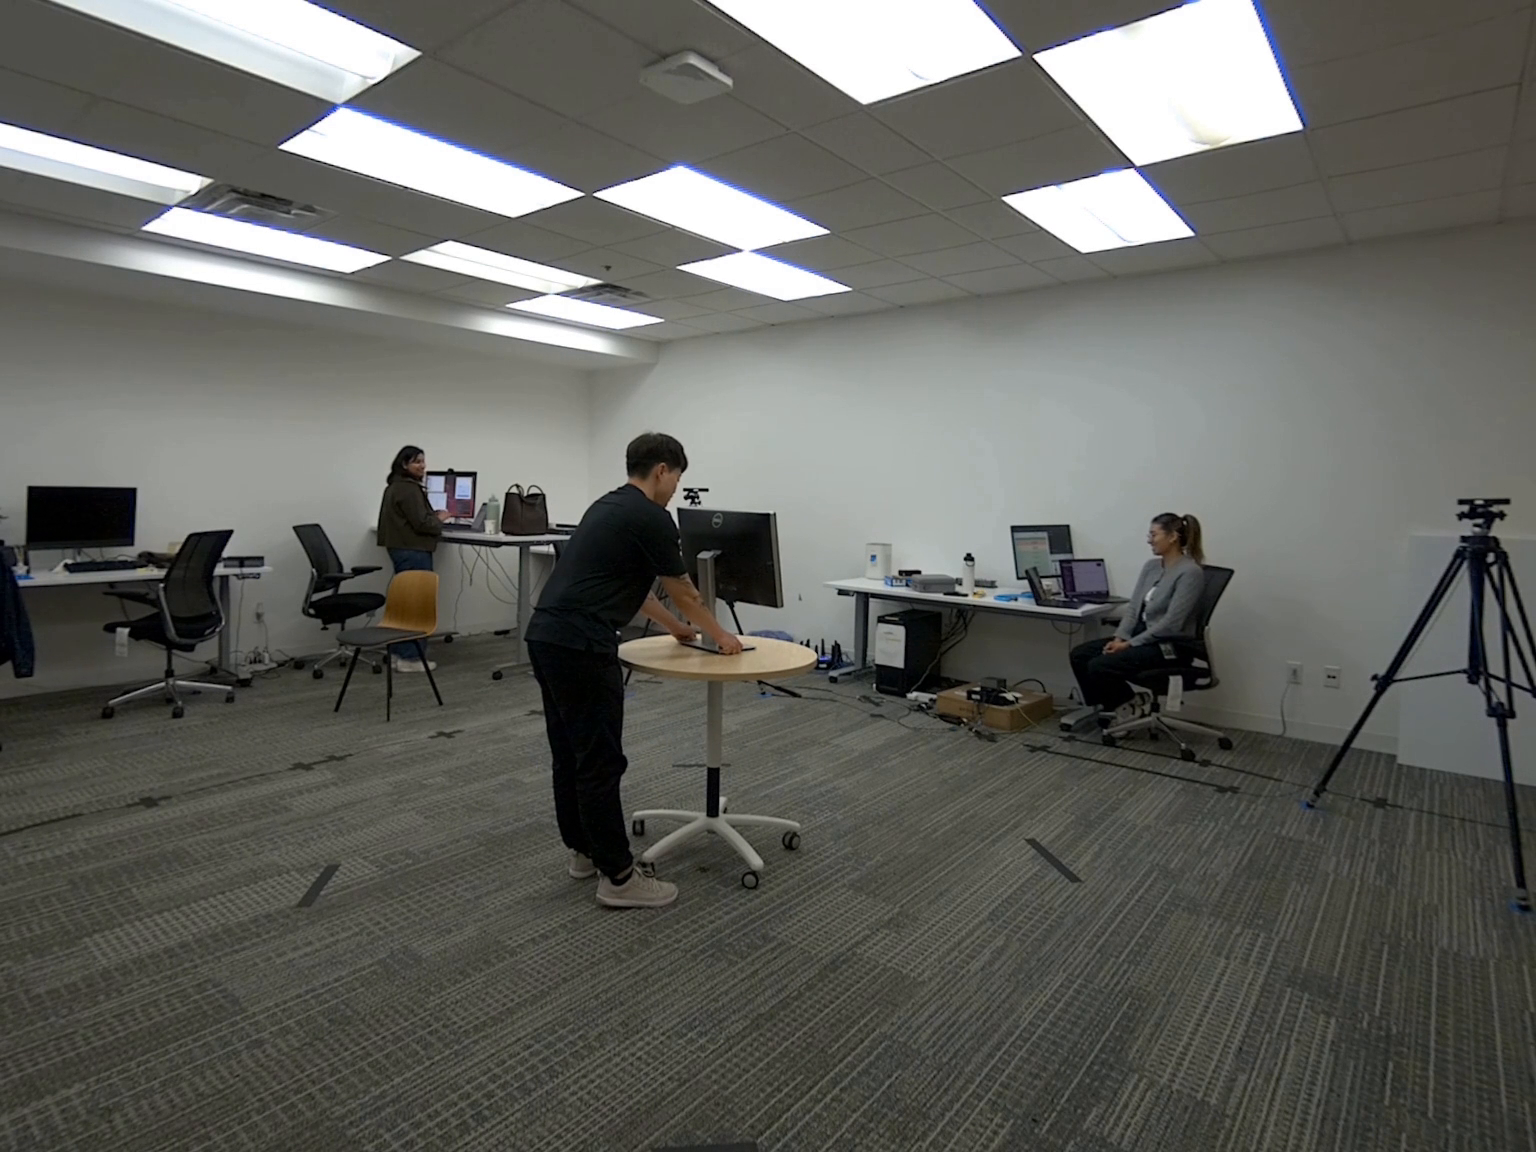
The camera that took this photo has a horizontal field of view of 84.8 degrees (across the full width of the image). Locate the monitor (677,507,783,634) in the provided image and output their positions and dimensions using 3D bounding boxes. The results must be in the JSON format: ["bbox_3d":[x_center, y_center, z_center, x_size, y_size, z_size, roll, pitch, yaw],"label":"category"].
[{"bbox_3d":[-0.202,0.009,3.314,0.181,0.521,0.558,1,4,-44],"label":"monitor"}]
